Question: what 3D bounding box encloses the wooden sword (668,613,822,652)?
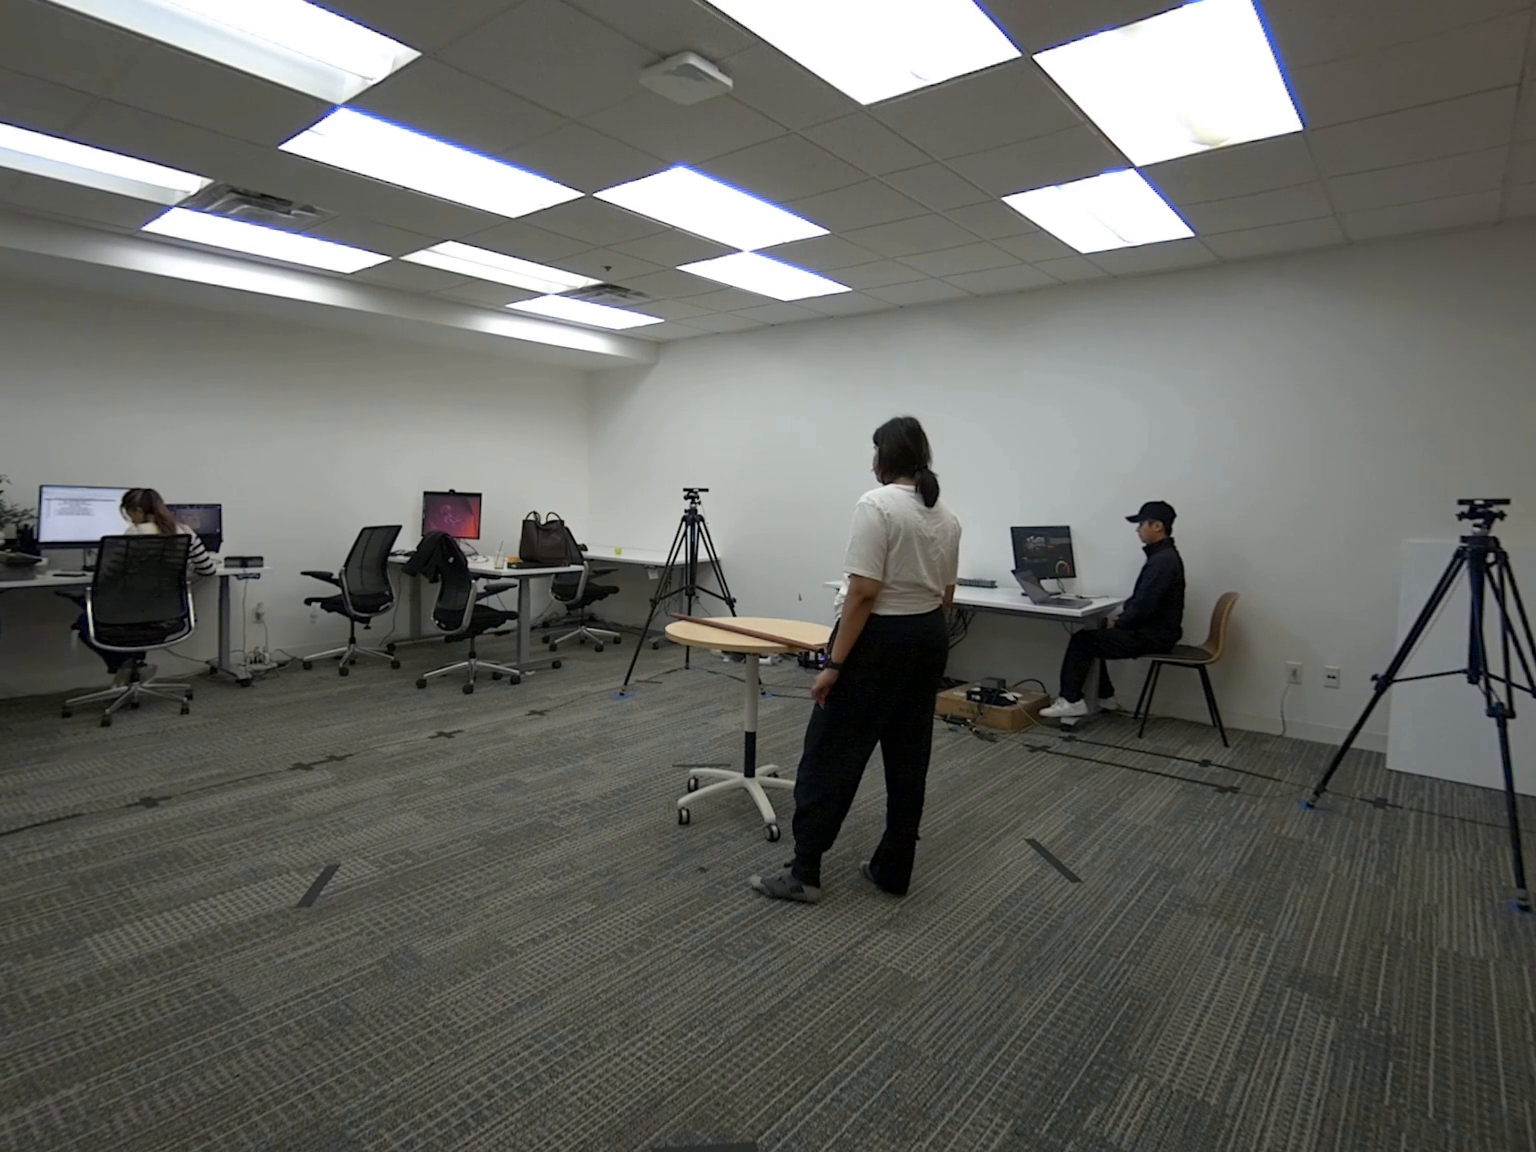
[{"bbox_3d":[-0.148,0.233,3.588,0.023,0.051,1.060,-10,12,-36],"label":"wooden sword"}]
